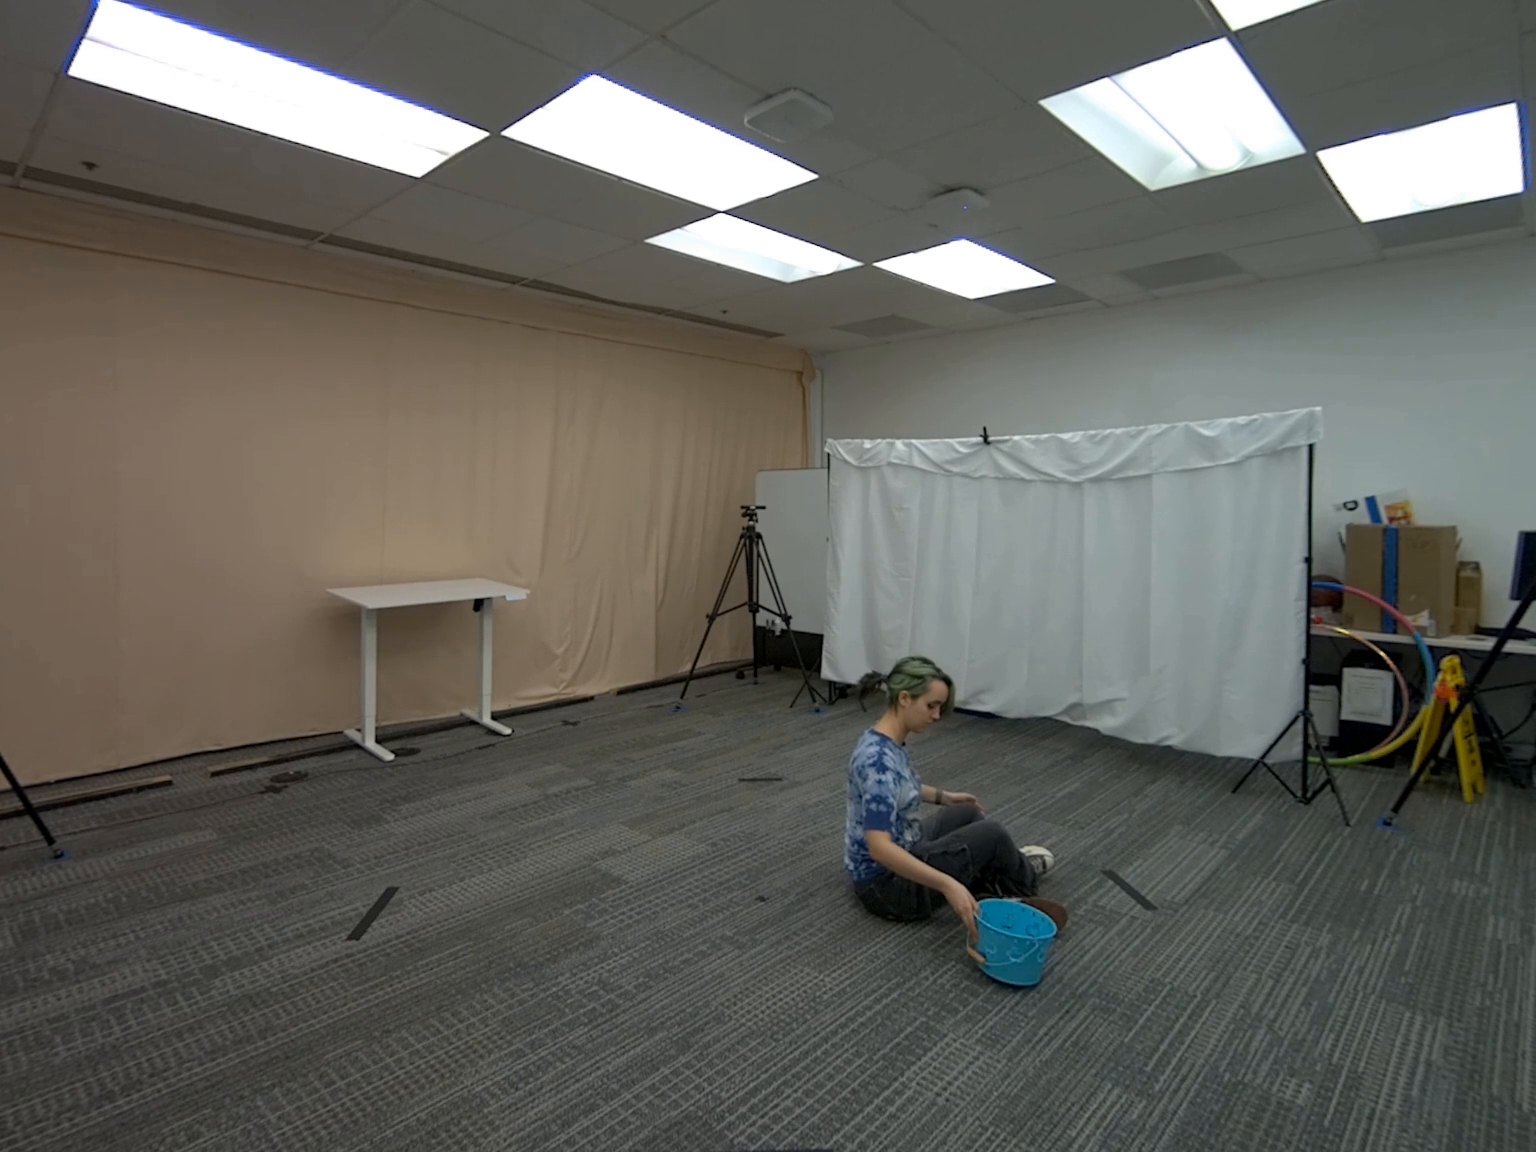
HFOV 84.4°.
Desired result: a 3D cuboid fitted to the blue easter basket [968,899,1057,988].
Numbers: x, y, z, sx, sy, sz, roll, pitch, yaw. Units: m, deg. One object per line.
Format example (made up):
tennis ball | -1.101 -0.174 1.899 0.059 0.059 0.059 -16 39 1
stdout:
blue easter basket | 0.725 1.071 2.491 0.243 0.155 0.244 5 4 -2
